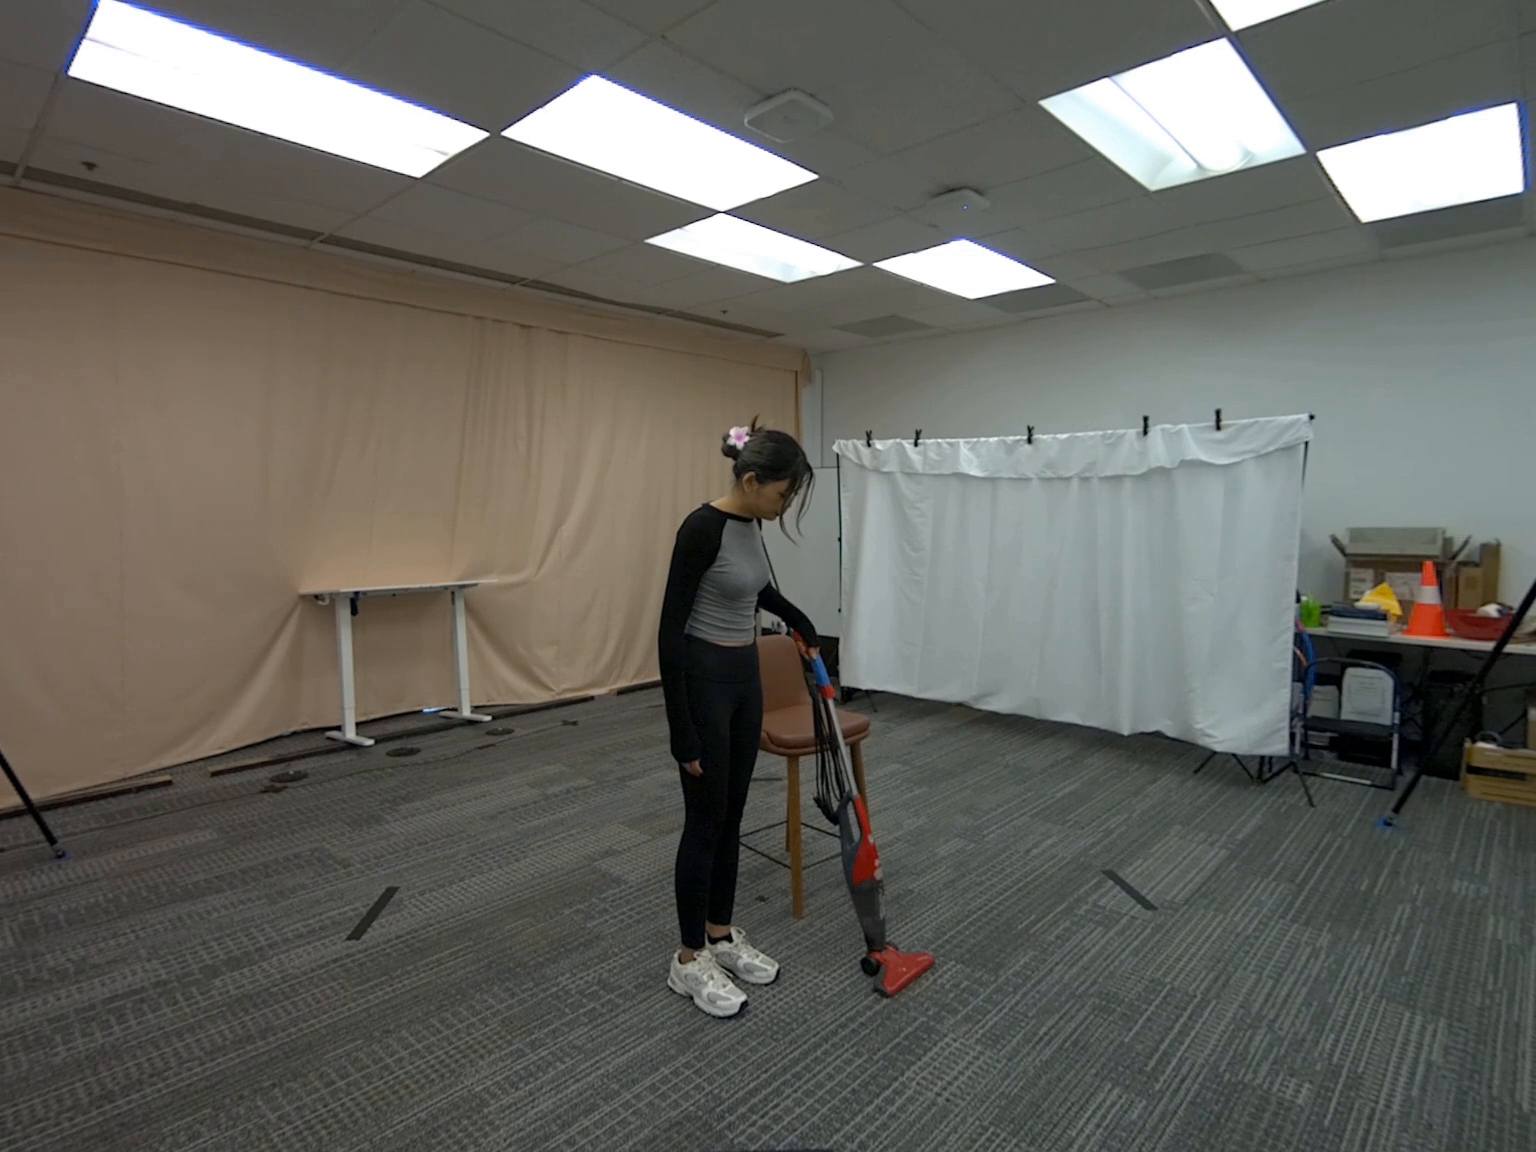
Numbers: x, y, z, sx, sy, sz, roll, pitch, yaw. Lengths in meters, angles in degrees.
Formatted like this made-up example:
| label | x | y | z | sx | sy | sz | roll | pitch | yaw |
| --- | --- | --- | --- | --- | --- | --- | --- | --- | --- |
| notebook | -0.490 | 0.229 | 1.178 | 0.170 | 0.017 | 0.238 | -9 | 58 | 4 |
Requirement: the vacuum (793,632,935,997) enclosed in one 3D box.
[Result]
| label | x | y | z | sx | sy | sz | roll | pitch | yaw |
| --- | --- | --- | --- | --- | --- | --- | --- | --- | --- |
| vacuum | 0.244 | 0.683 | 2.597 | 0.147 | 1.058 | 0.245 | -23 | -12 | 39 |
